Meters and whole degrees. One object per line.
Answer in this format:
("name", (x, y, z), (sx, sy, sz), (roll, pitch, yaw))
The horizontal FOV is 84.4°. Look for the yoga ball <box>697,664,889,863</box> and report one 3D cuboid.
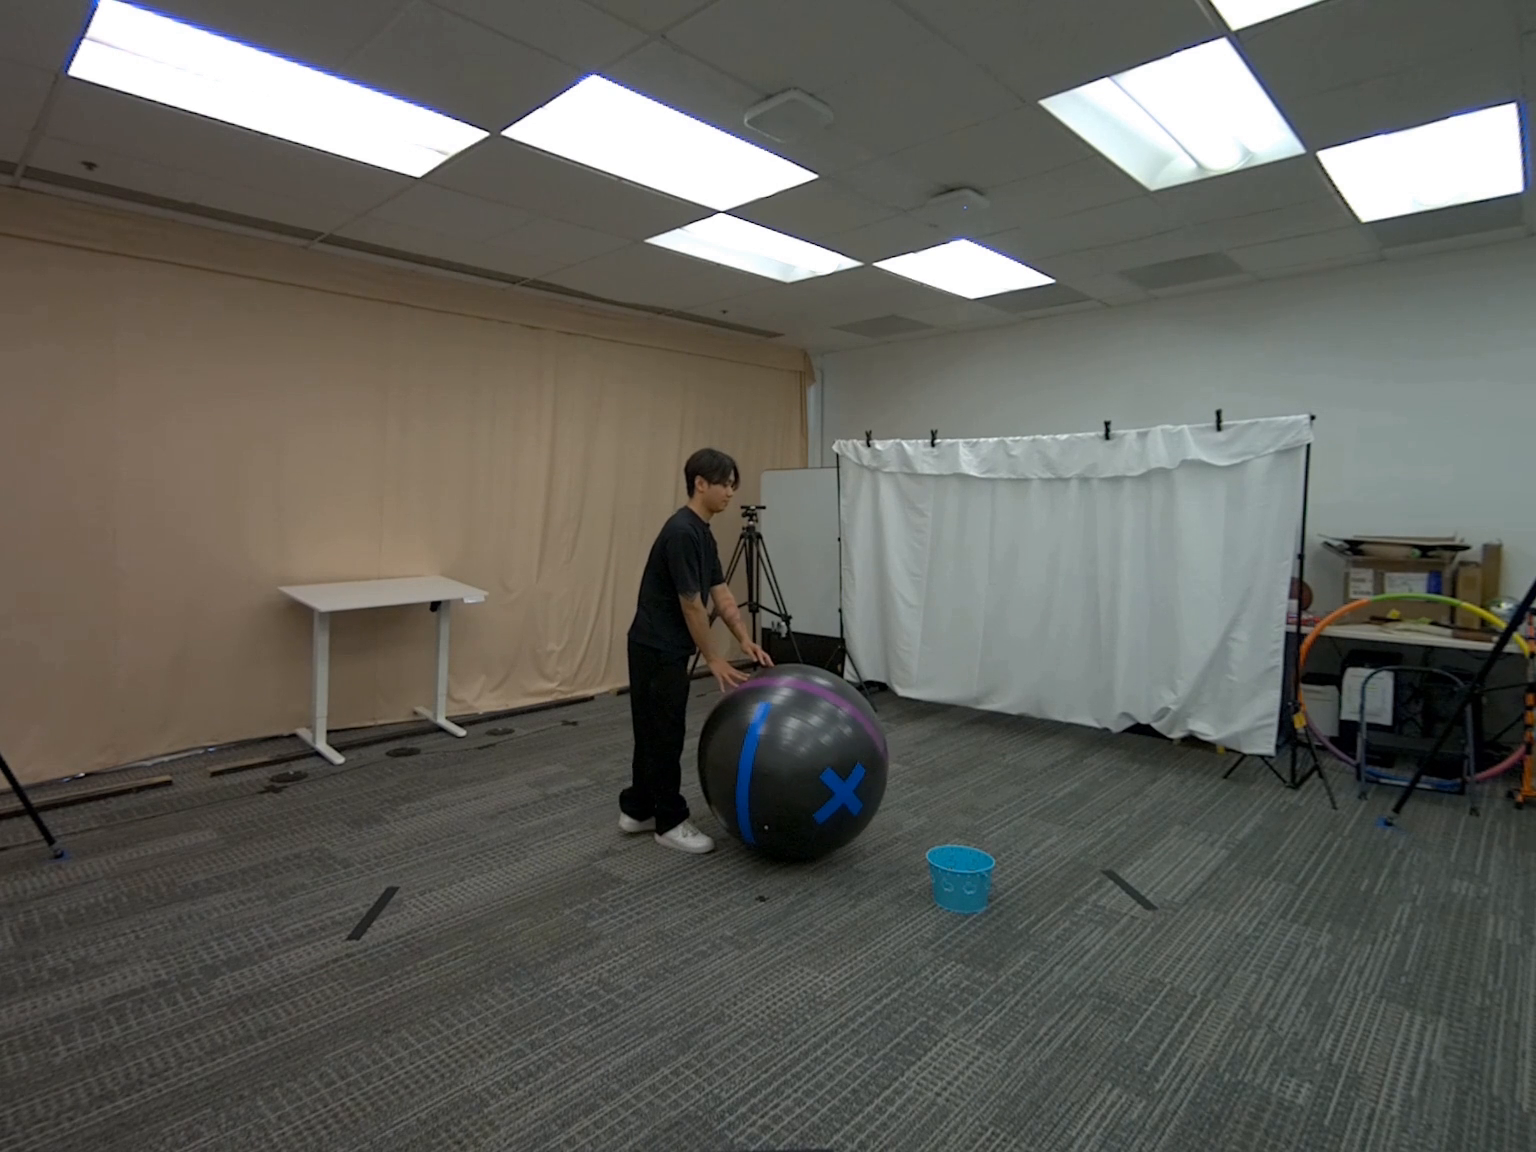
("yoga ball", (0.101, 0.742, 3.386), (0.757, 0.756, 0.760), (0, 4, -2))
